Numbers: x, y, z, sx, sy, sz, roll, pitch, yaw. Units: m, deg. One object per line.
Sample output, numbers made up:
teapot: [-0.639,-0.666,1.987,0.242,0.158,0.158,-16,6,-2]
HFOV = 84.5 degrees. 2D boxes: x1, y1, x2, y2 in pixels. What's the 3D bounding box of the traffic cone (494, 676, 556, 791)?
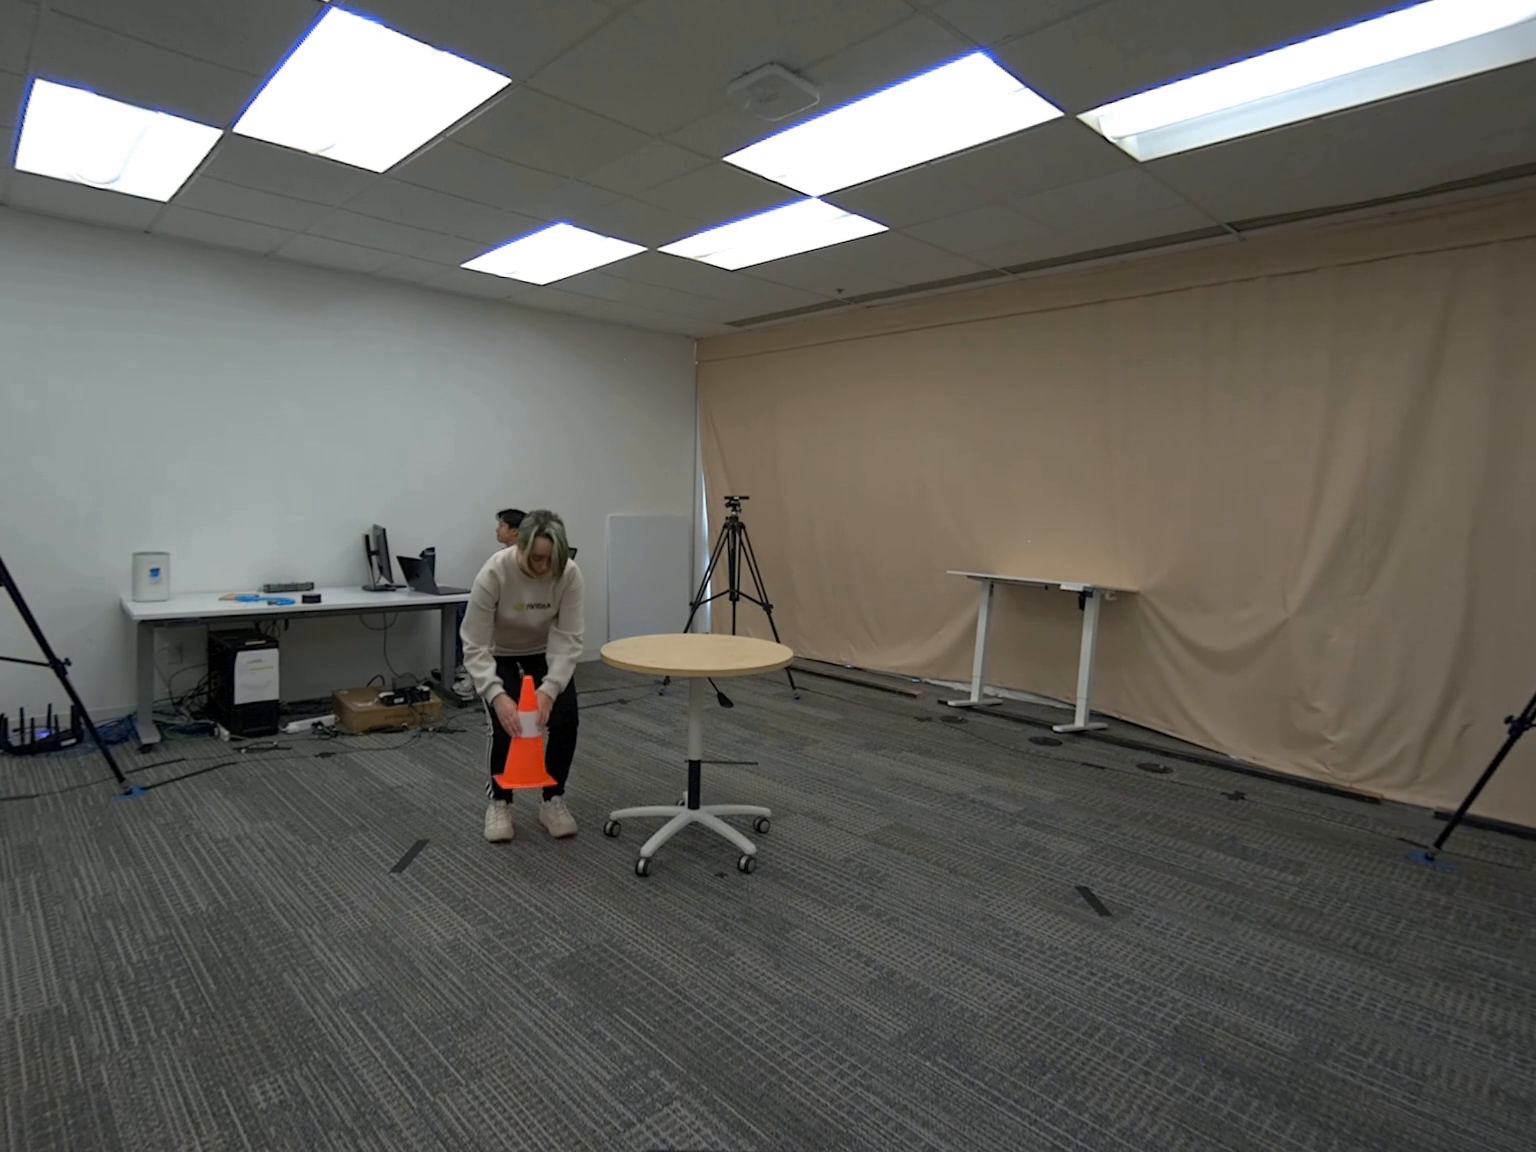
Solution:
traffic cone: [-0.907,0.567,3.097,0.201,0.383,0.207,1,1,-26]
